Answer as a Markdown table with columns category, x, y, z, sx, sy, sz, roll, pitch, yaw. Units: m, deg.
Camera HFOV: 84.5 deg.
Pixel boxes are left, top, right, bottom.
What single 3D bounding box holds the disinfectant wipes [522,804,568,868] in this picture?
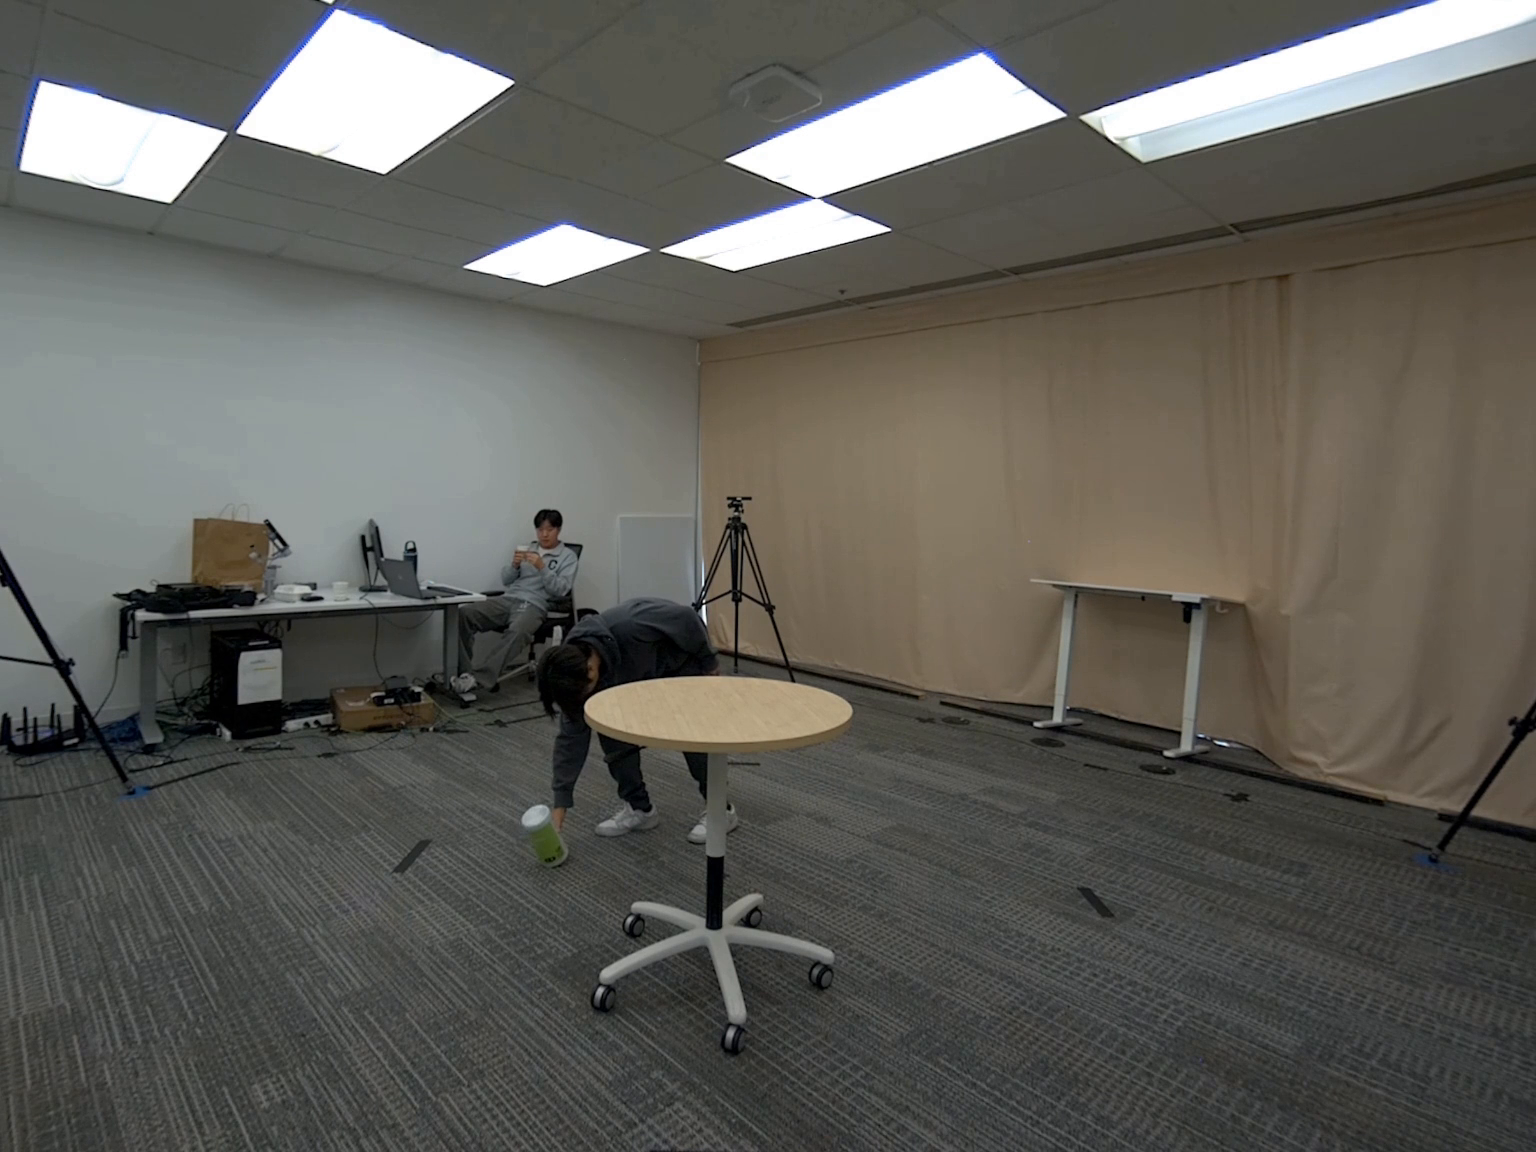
| category | x | y | z | sx | sy | sz | roll | pitch | yaw |
| --- | --- | --- | --- | --- | --- | --- | --- | --- | --- |
| disinfectant wipes | -0.844 | 0.976 | 3.132 | 0.118 | 0.213 | 0.120 | -13 | 25 | 5 |
